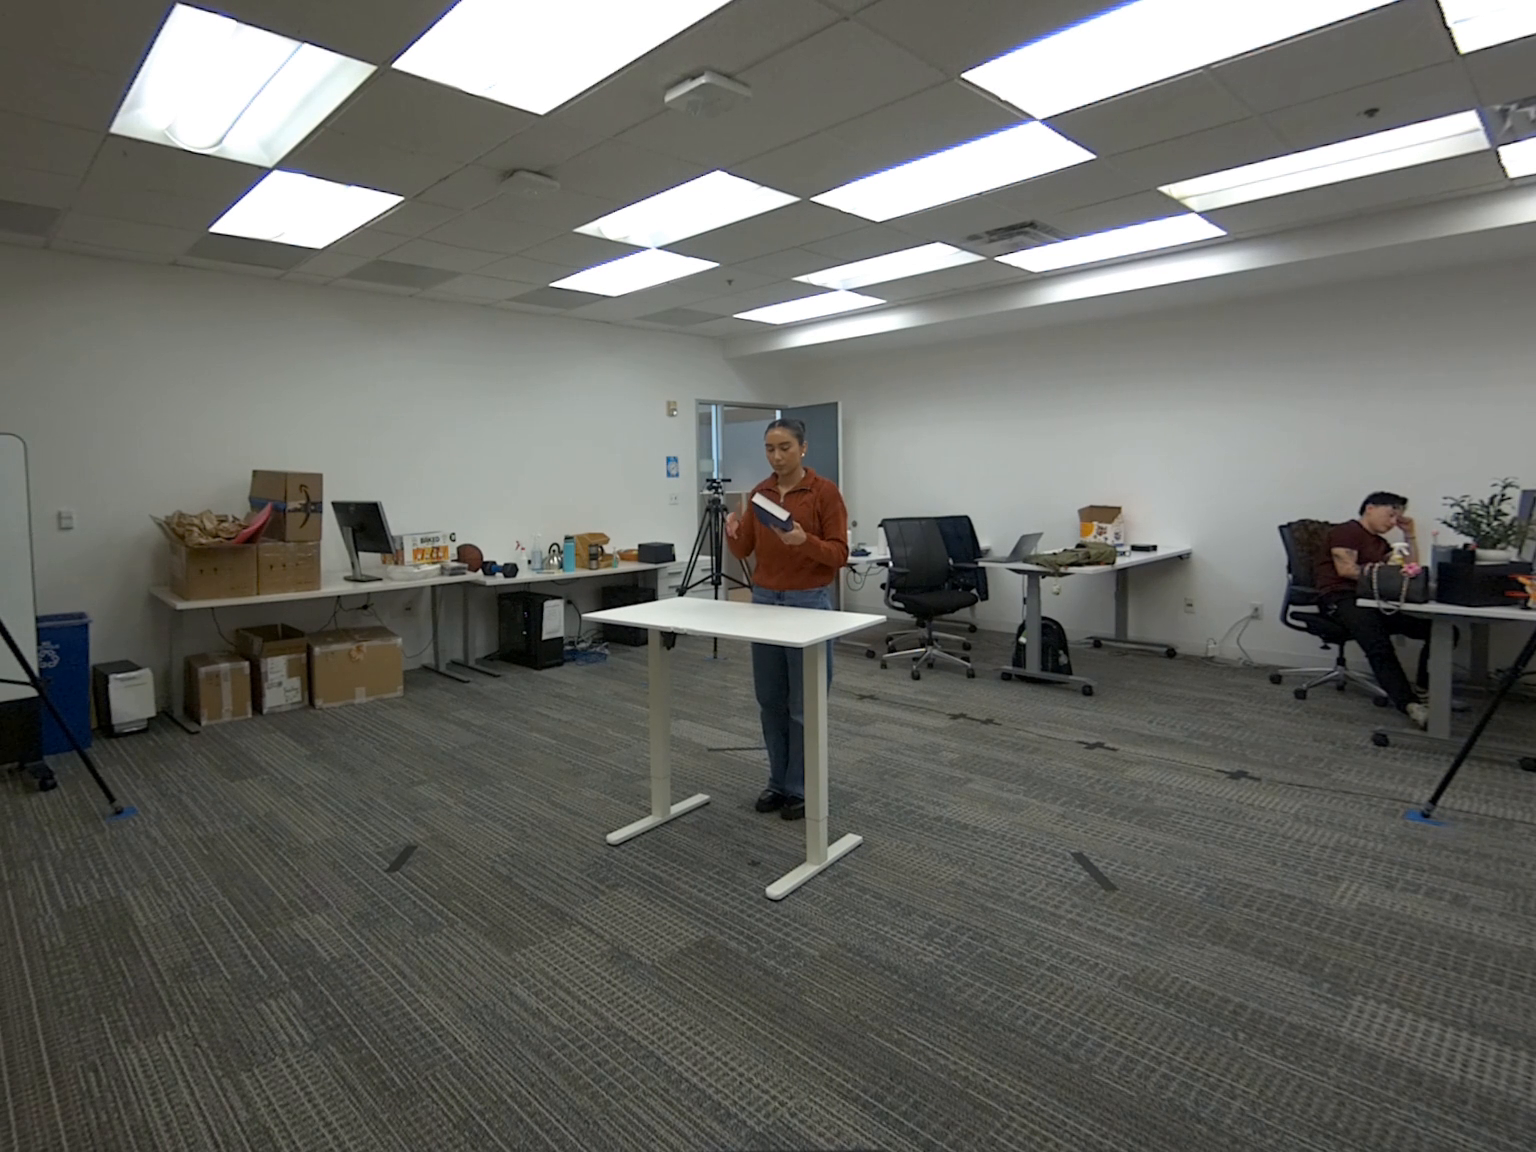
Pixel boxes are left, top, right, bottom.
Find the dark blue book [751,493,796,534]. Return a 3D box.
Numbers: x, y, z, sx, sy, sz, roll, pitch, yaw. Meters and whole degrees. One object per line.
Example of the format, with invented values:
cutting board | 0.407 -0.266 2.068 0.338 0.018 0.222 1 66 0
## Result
dark blue book | 0.024 -0.225 3.302 0.167 0.045 0.239 35 -9 17
